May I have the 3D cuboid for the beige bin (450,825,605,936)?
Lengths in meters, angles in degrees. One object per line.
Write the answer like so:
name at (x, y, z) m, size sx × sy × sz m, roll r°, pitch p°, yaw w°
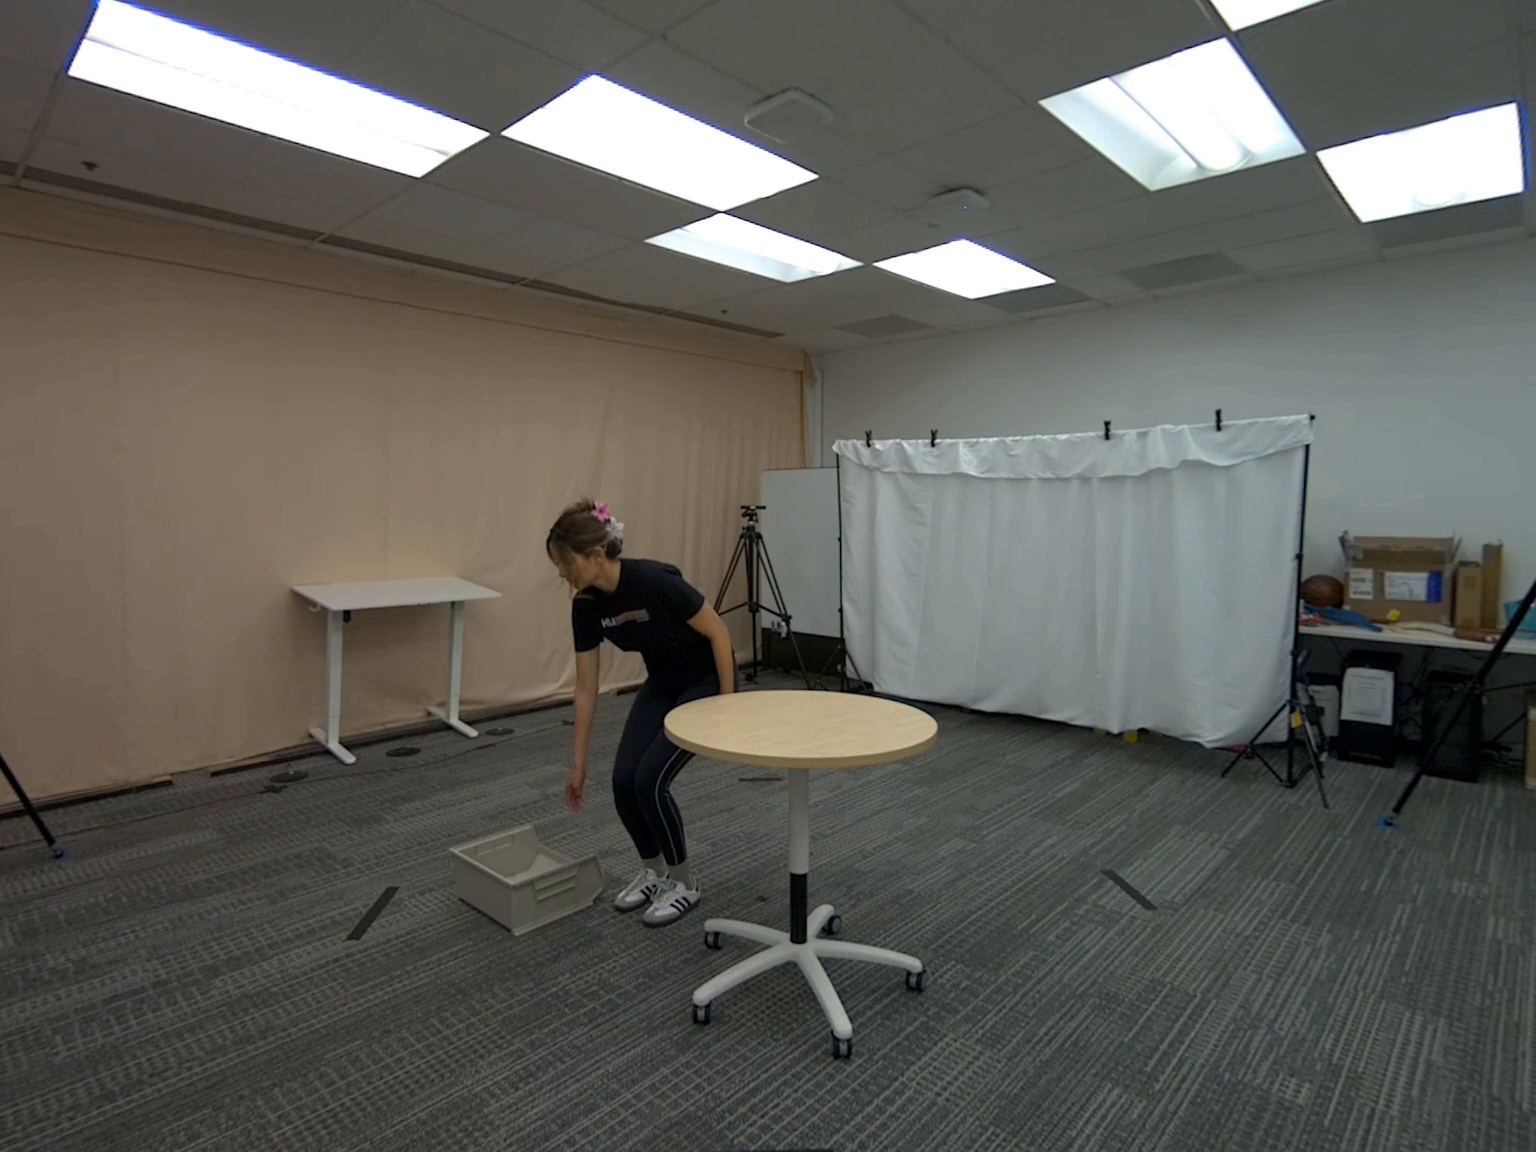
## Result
beige bin at (-0.858, 1.064, 2.992) m, size 0.436 × 0.188 × 0.366 m, roll 4°, pitch 7°, yaw 42°
